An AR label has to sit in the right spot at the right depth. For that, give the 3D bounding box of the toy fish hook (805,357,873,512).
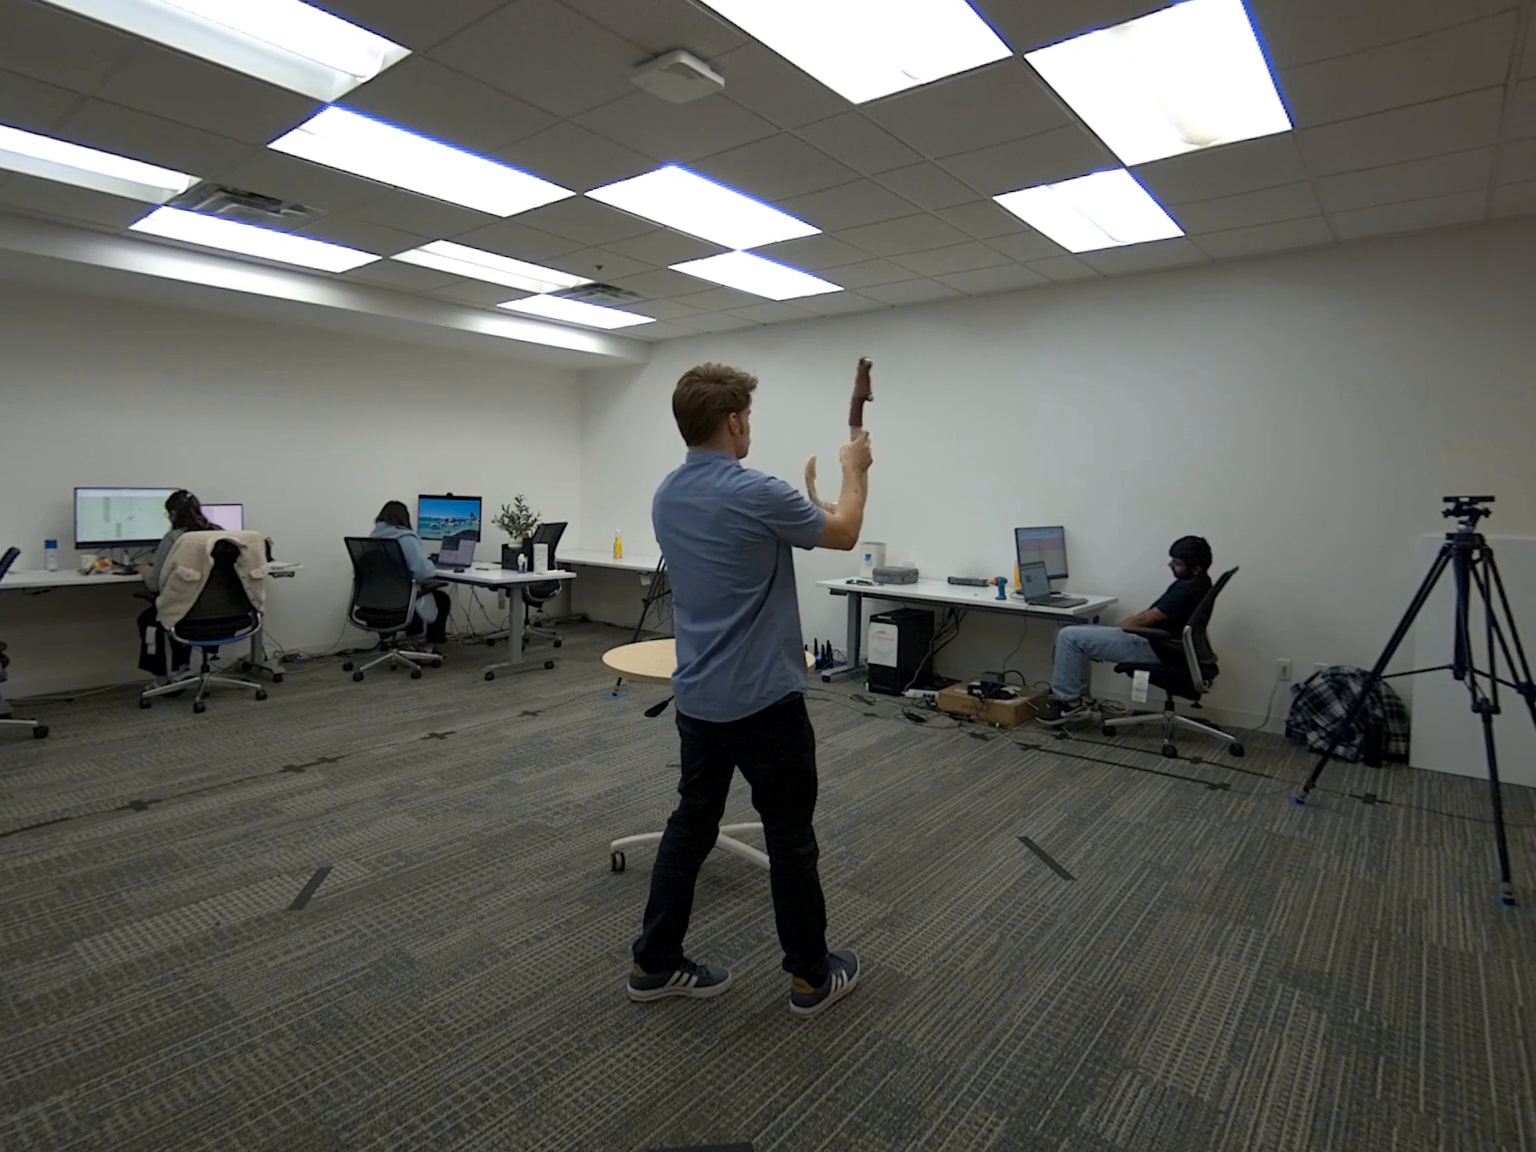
[{"bbox_3d":[0.209,-0.398,2.532,0.233,0.500,0.047,16,17,33],"label":"toy fish hook"}]
